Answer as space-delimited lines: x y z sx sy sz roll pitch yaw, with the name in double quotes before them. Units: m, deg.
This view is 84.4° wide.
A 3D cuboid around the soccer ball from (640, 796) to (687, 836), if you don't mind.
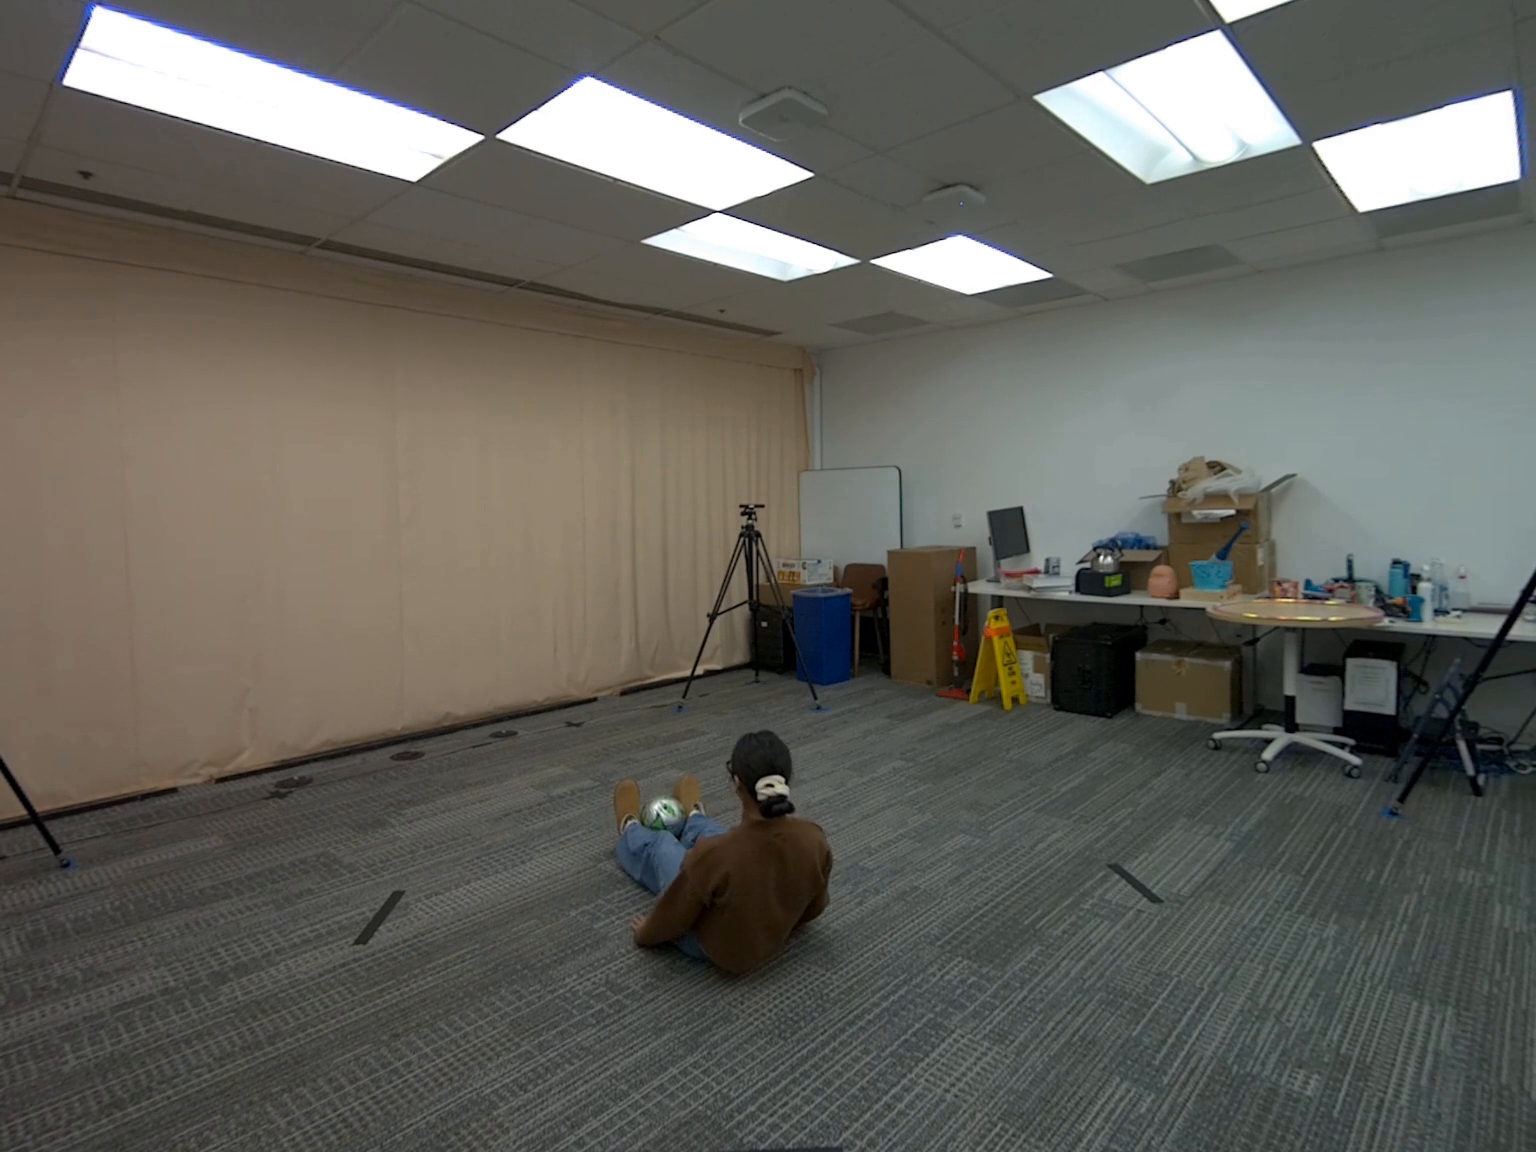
"soccer ball" -0.423 0.988 3.412 0.187 0.187 0.188 -1 4 -2
